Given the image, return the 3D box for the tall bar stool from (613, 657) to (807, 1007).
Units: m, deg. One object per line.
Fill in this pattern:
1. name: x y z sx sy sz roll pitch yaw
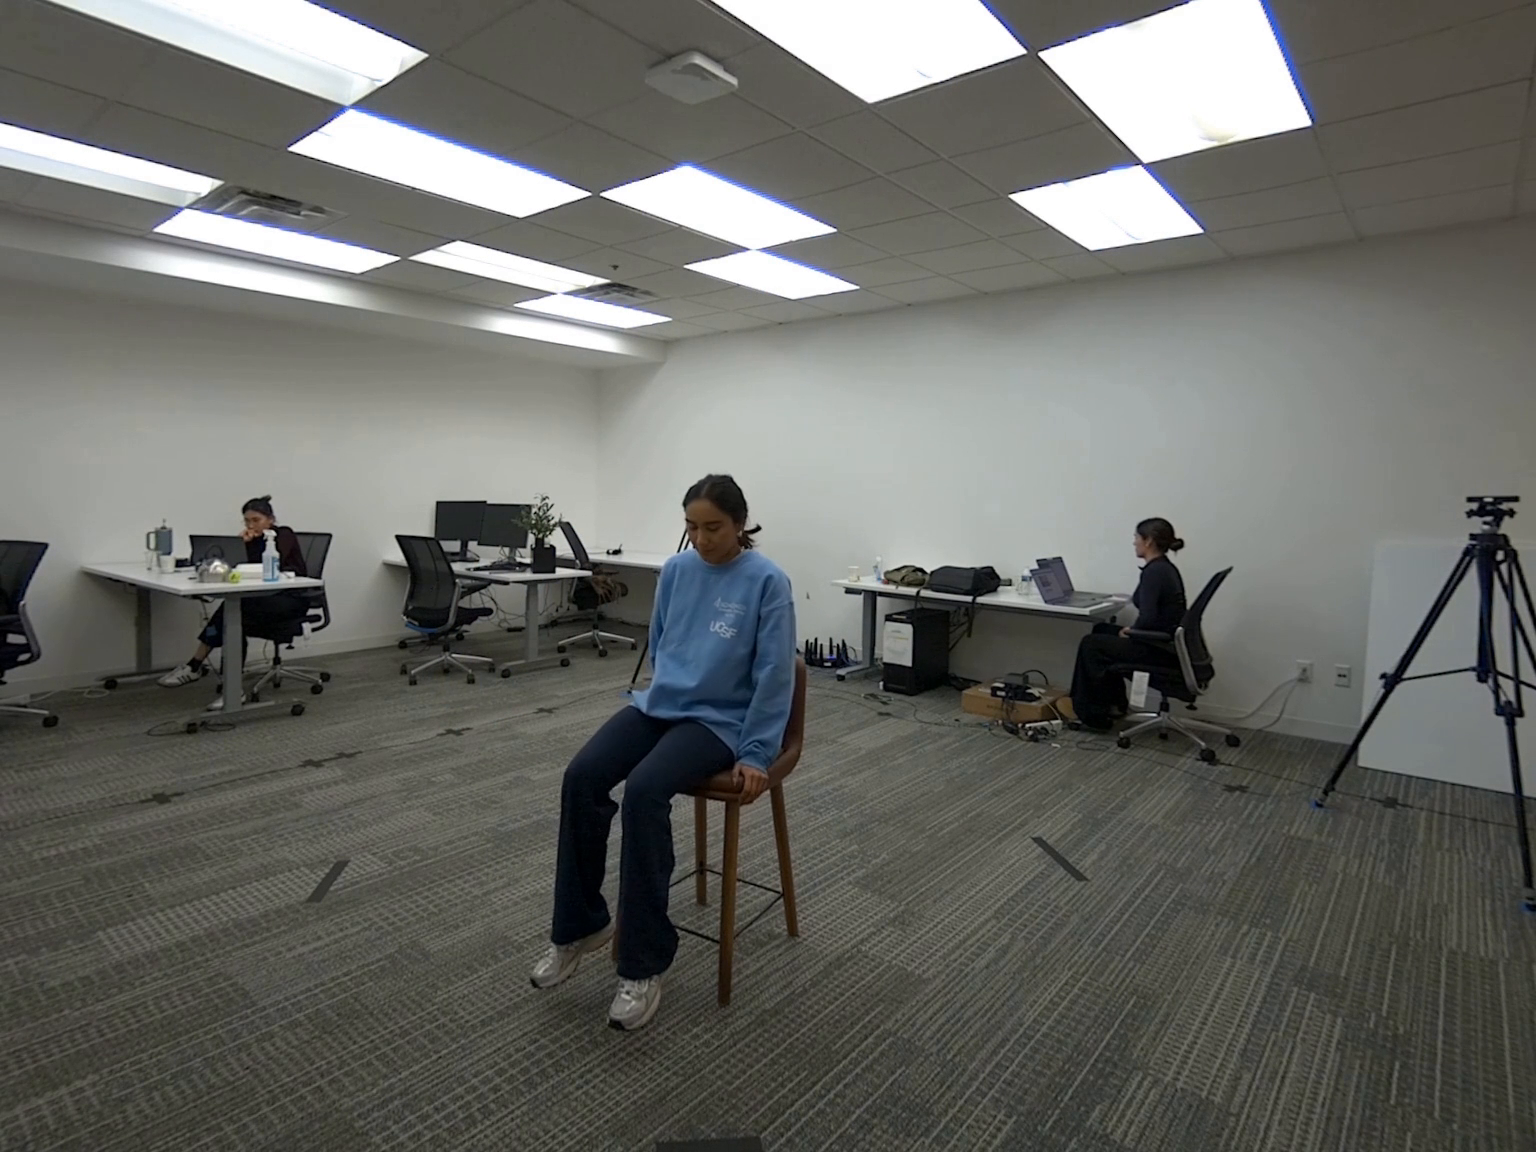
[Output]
1. tall bar stool: -0.171 0.689 2.551 0.470 0.888 0.454 3 3 31
